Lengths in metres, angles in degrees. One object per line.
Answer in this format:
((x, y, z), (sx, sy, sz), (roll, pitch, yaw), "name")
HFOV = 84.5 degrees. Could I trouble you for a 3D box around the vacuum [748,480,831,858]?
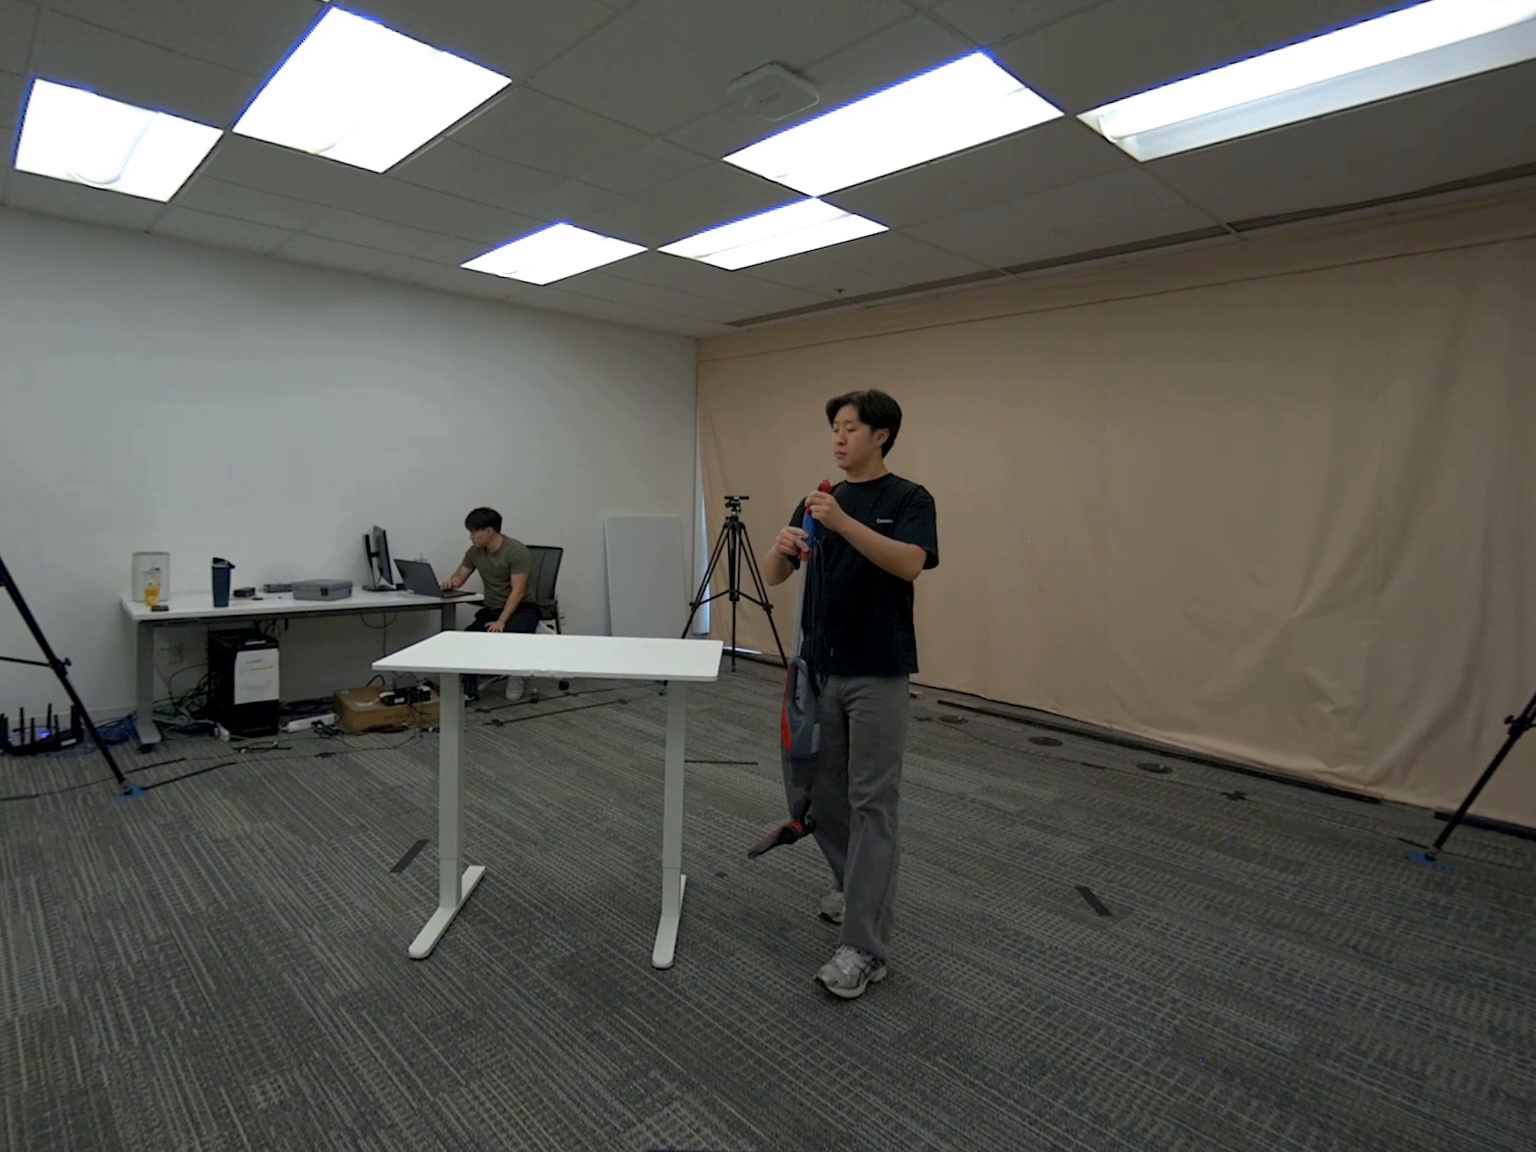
((0.105, 0.271, 2.422), (0.147, 1.046, 0.248), (7, 5, 23), "vacuum")
